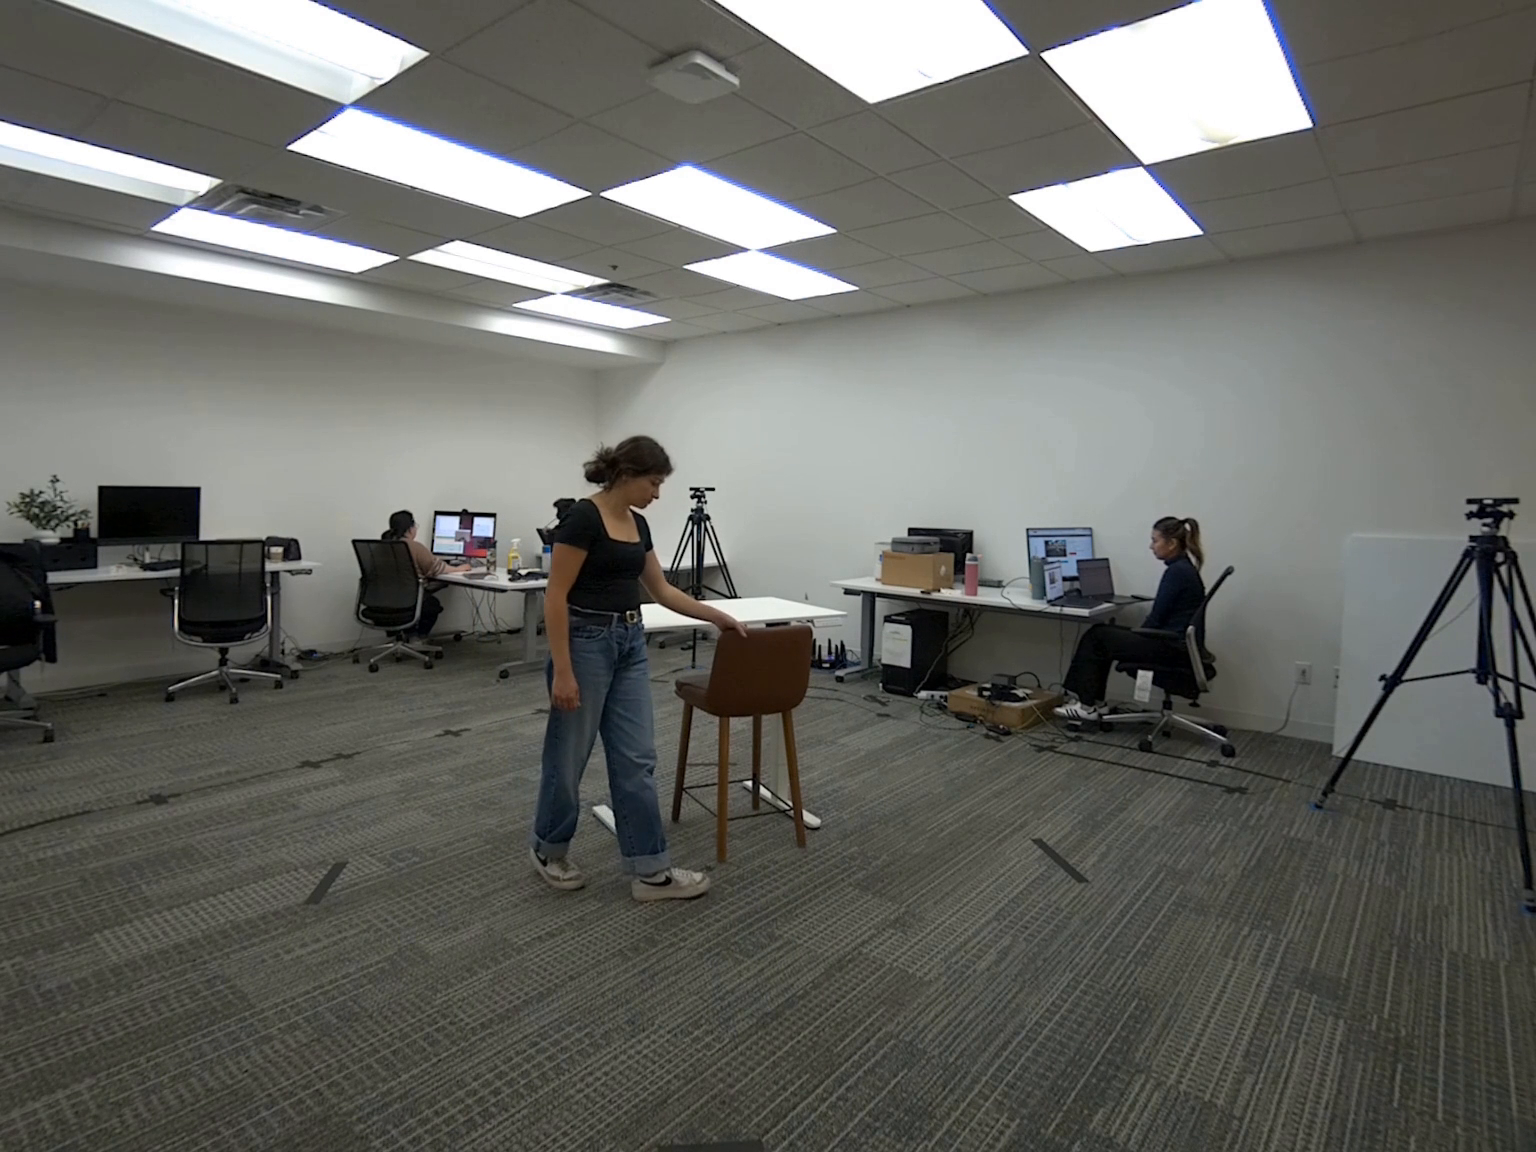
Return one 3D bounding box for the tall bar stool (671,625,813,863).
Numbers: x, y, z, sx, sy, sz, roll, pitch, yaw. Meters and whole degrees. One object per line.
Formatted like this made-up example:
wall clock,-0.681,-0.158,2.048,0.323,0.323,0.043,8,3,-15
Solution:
tall bar stool,-0.113,0.609,3.413,0.445,0.886,0.482,0,6,-27
